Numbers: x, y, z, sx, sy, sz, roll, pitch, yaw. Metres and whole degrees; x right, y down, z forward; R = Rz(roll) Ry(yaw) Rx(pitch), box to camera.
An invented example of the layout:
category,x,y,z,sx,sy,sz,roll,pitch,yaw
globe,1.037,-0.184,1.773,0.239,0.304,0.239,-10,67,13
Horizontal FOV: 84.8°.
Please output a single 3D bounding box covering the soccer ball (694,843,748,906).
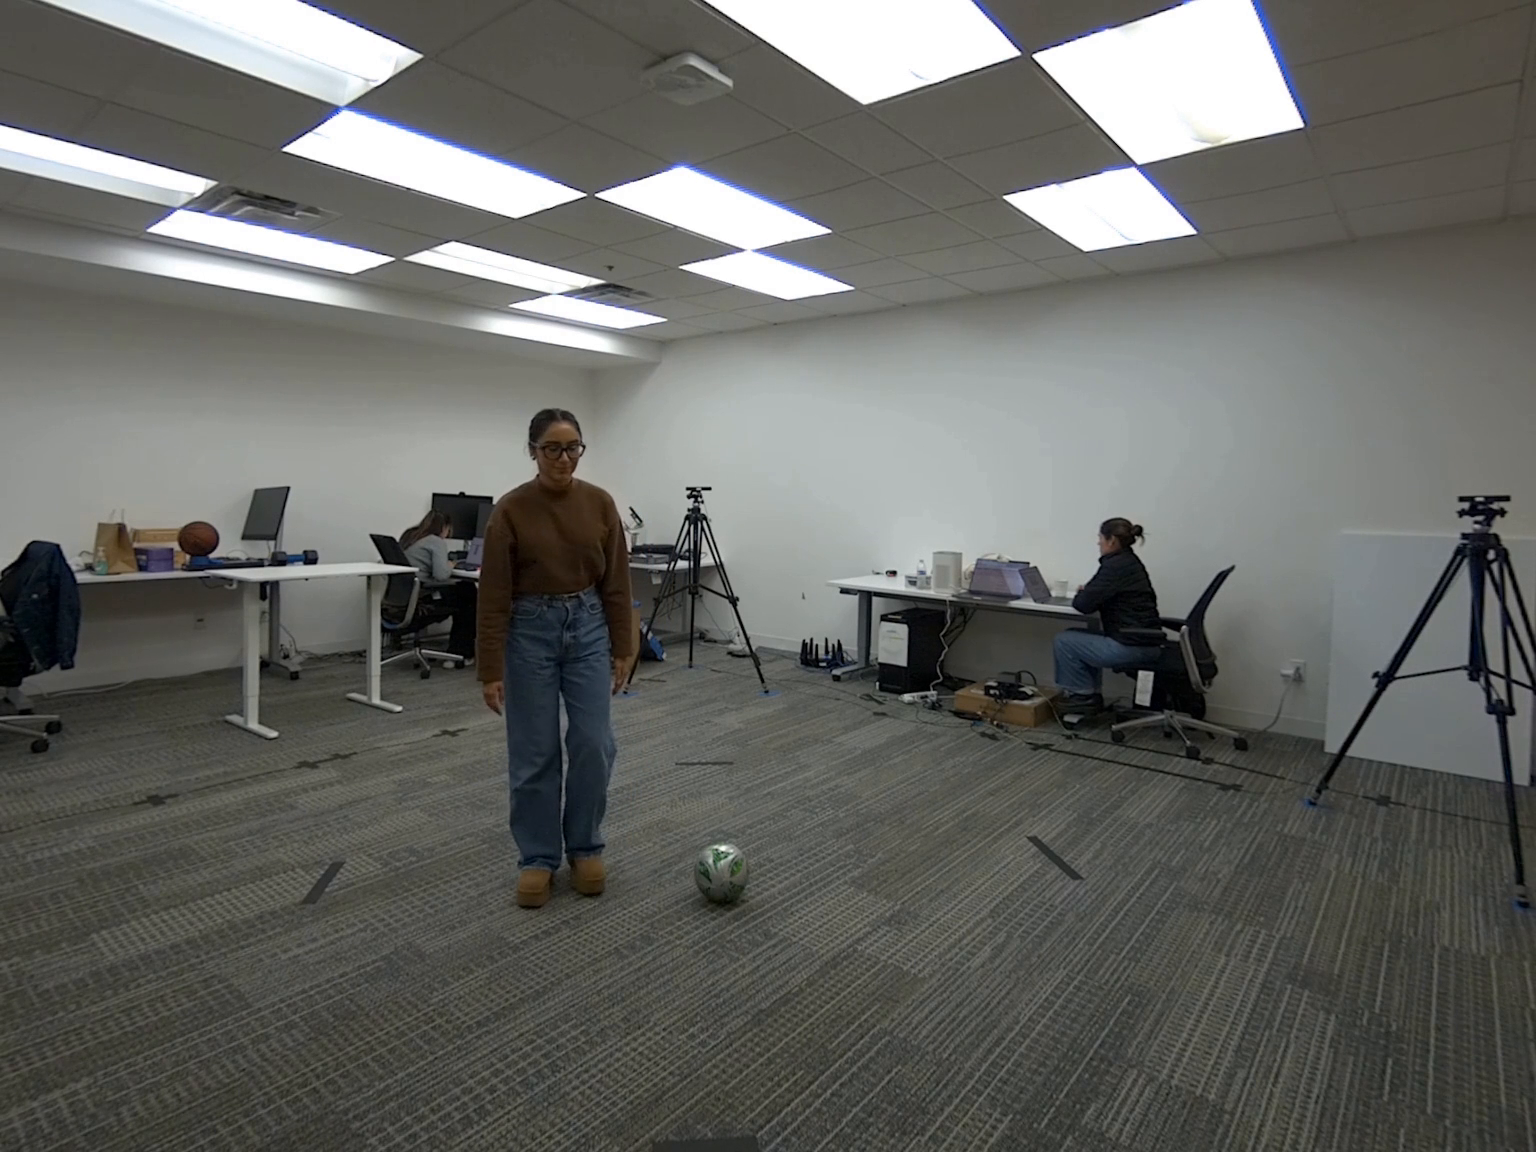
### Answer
category,x,y,z,sx,sy,sz,roll,pitch,yaw
soccer ball,-0.161,0.996,2.872,0.187,0.187,0.188,1,4,-2
